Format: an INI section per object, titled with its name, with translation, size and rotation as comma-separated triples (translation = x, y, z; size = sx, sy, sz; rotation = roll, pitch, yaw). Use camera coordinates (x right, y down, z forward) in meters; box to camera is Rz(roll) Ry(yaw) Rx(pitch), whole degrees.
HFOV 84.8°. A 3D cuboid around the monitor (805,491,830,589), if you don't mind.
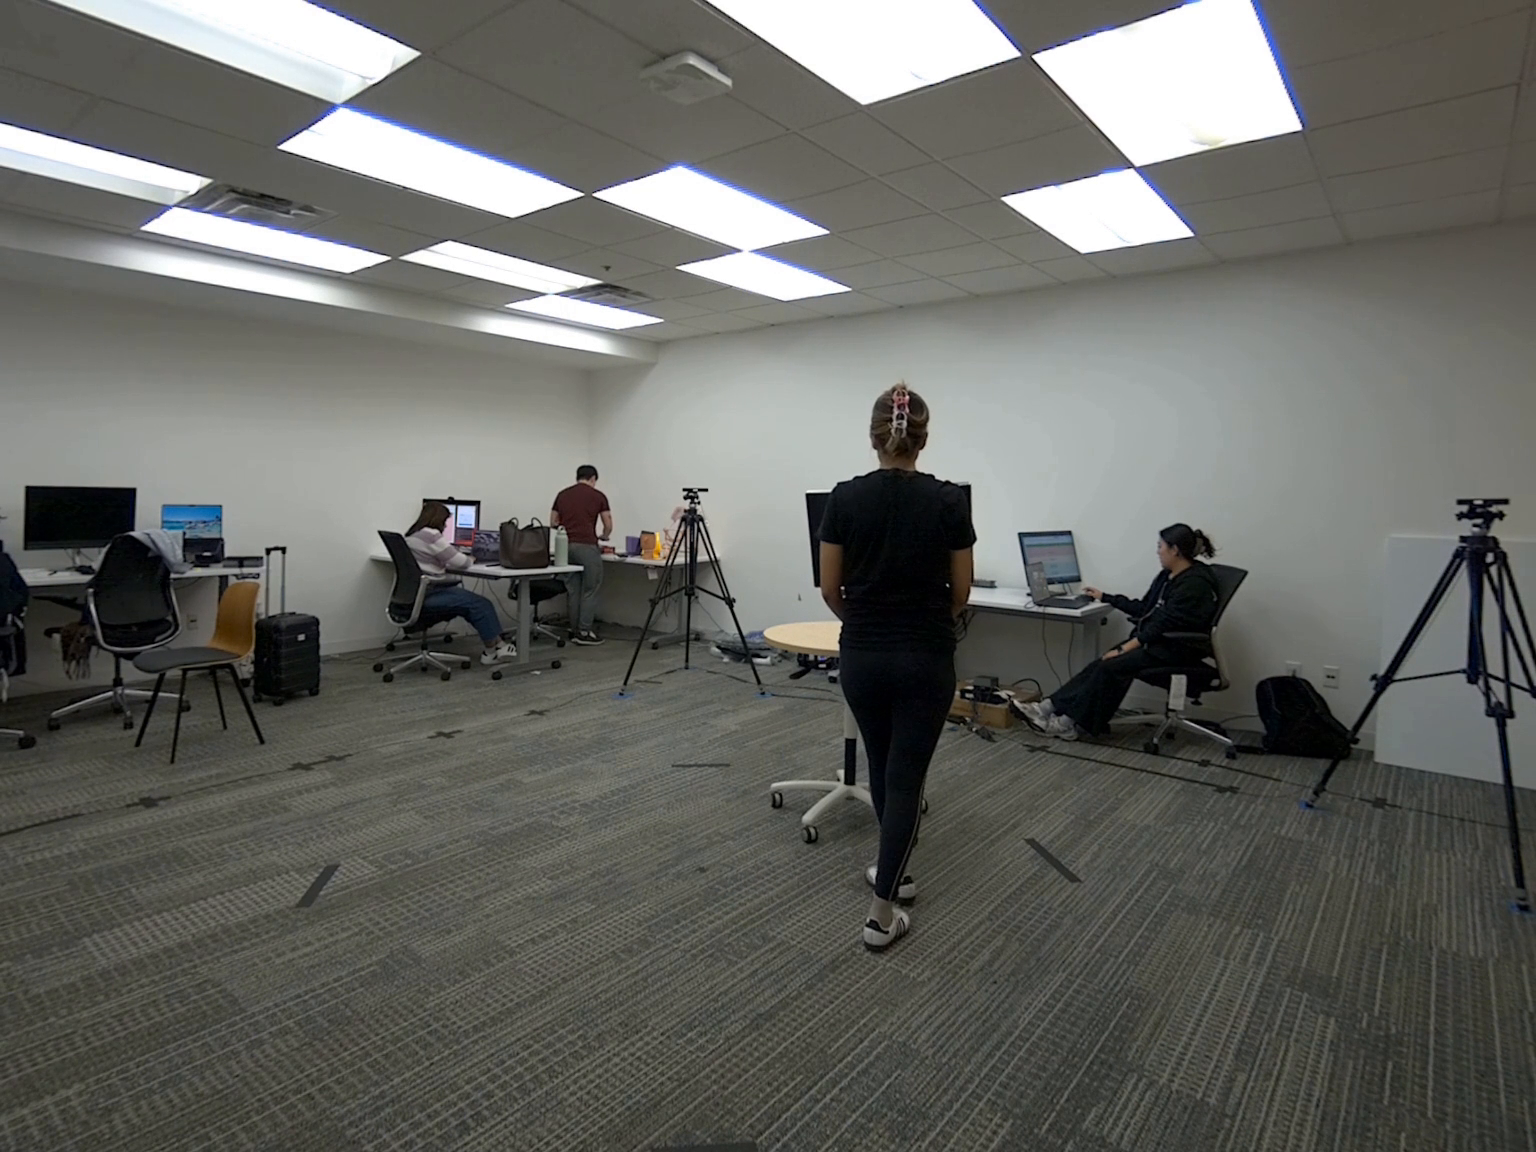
[monitor]
translation = 0.415, -0.043, 2.937
size = 0.547, 0.519, 0.186
rotation = -3, 7, 14
